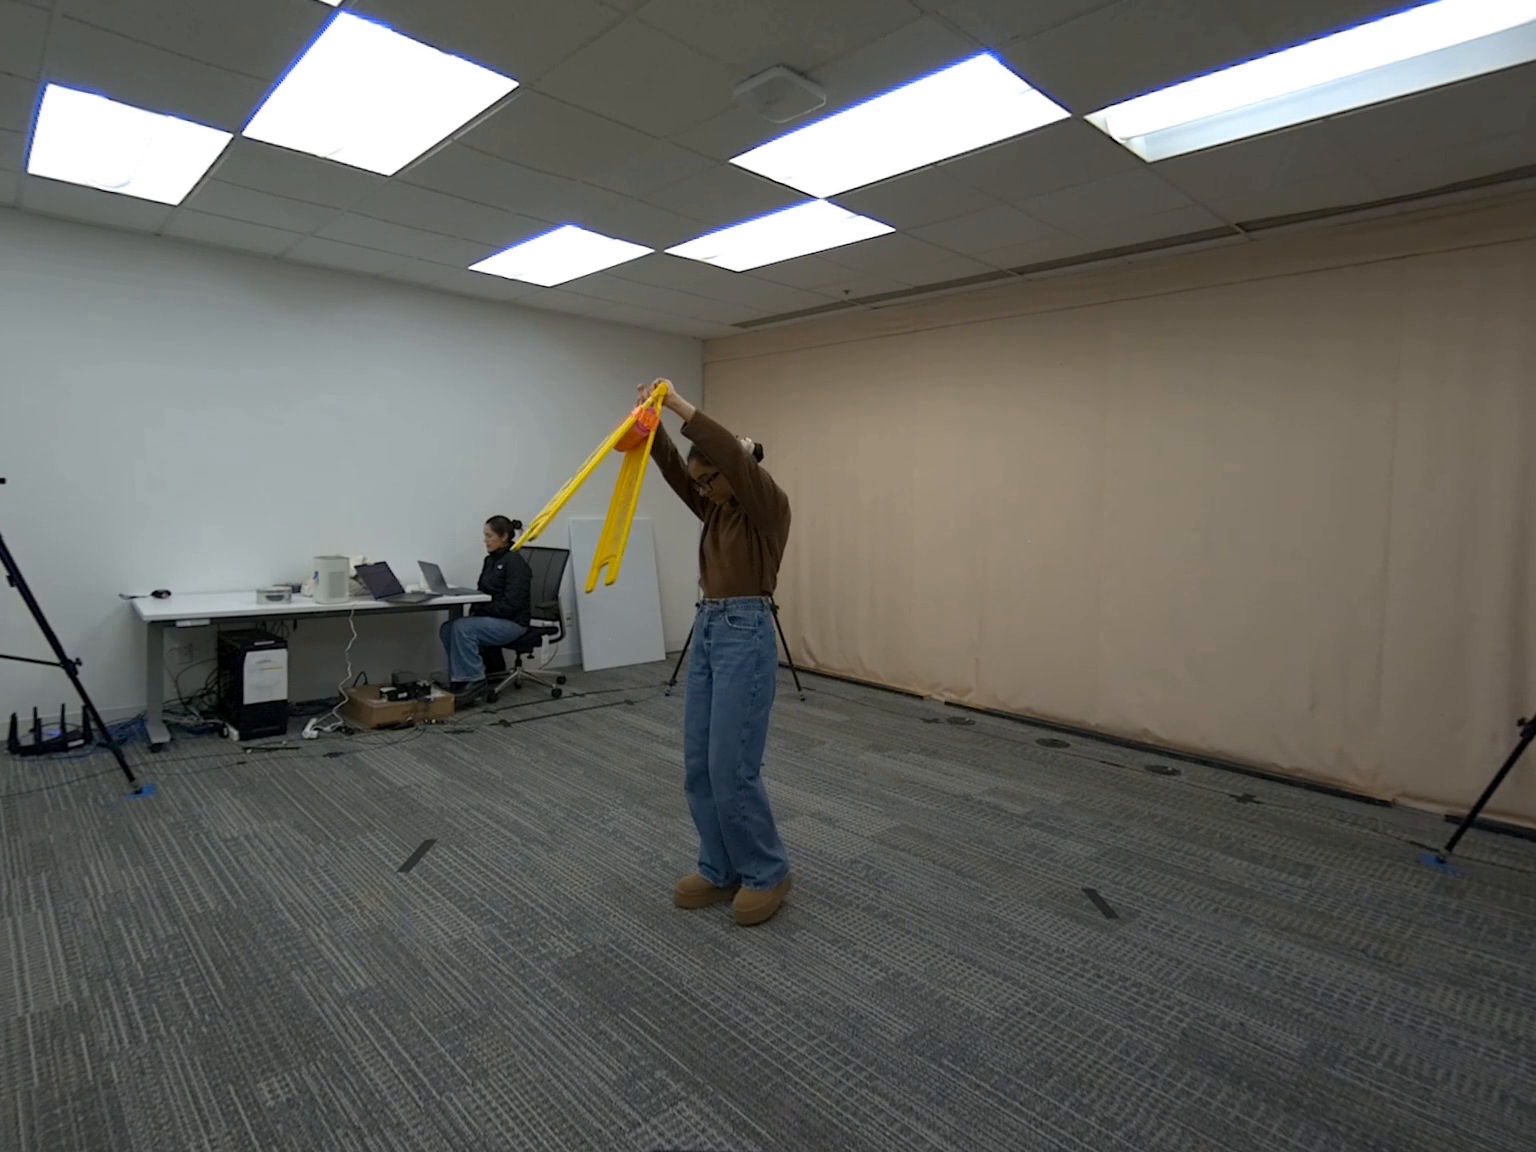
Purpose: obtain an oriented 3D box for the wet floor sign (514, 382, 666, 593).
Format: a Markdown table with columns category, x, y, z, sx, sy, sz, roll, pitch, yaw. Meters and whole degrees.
| category | x | y | z | sx | sy | sz | roll | pitch | yaw |
| --- | --- | --- | --- | --- | --- | --- | --- | --- | --- |
| wet floor sign | -0.493 | -0.305 | 2.559 | 0.284 | 0.650 | 0.286 | 30 | -21 | -21 |
